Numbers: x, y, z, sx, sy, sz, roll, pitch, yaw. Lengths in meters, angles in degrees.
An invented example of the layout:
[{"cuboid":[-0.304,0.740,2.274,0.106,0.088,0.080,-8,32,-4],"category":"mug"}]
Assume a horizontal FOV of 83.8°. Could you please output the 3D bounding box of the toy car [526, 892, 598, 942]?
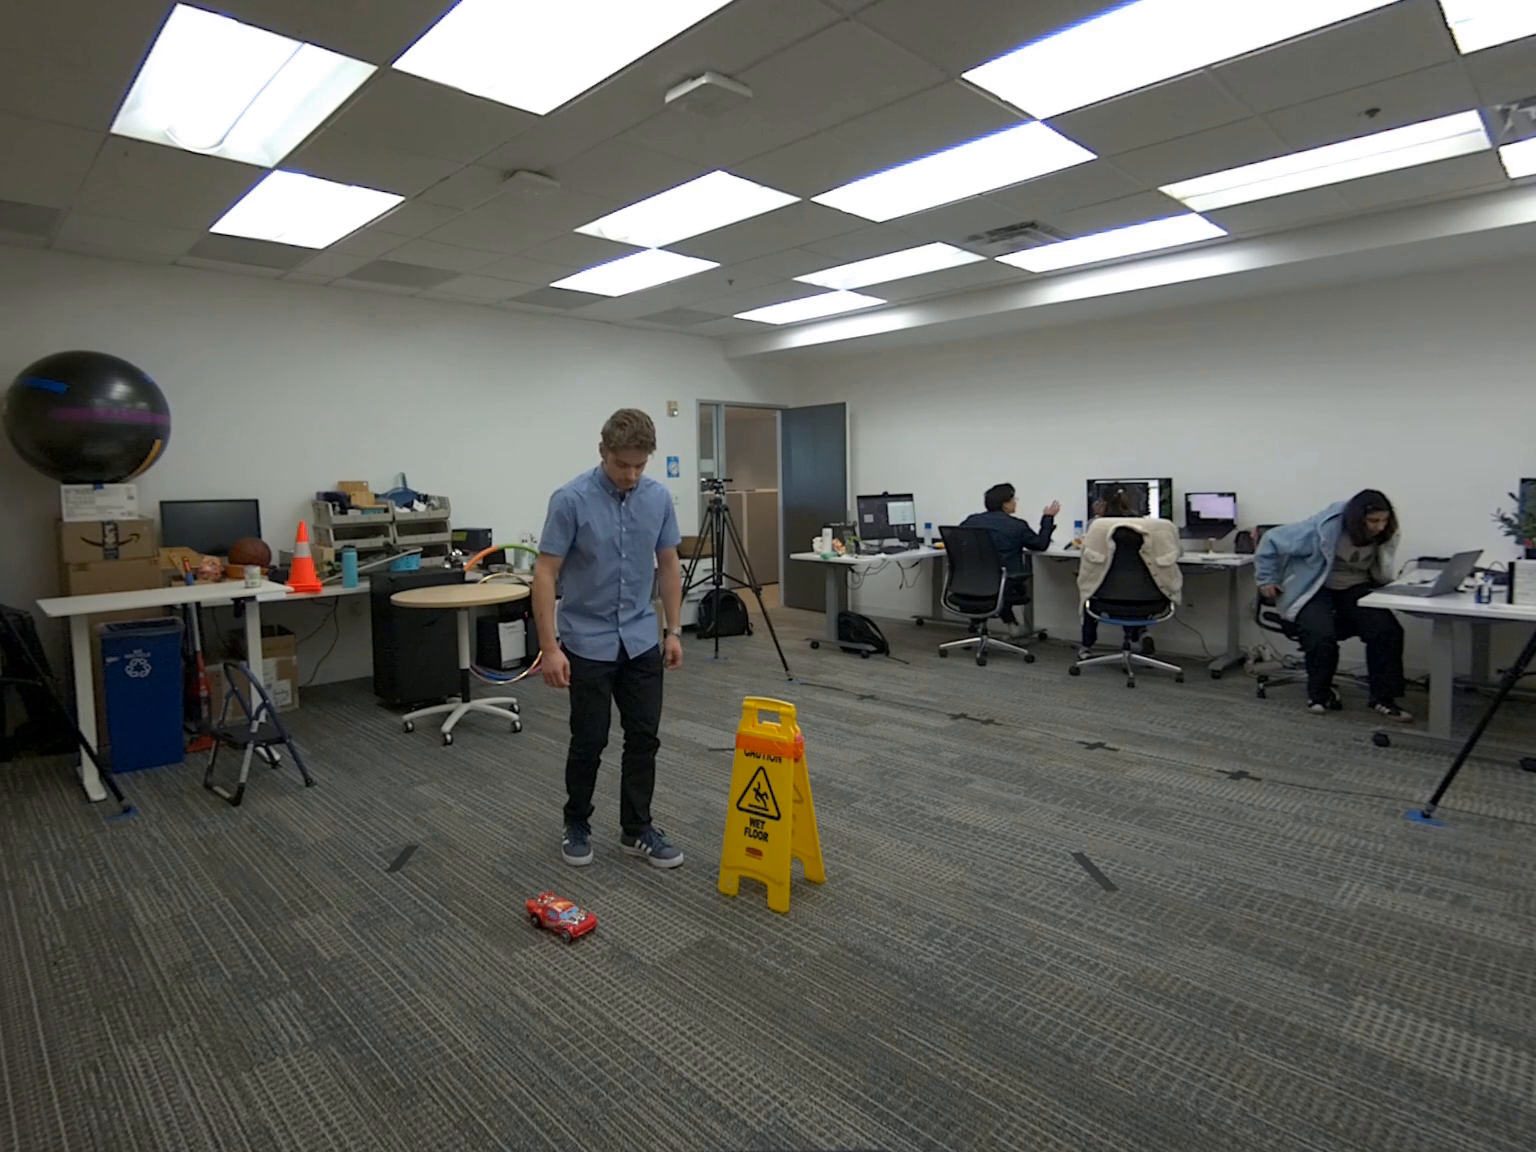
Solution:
[{"cuboid":[-0.657,1.077,2.690,0.263,0.082,0.127,17,15,36],"category":"toy car"}]
